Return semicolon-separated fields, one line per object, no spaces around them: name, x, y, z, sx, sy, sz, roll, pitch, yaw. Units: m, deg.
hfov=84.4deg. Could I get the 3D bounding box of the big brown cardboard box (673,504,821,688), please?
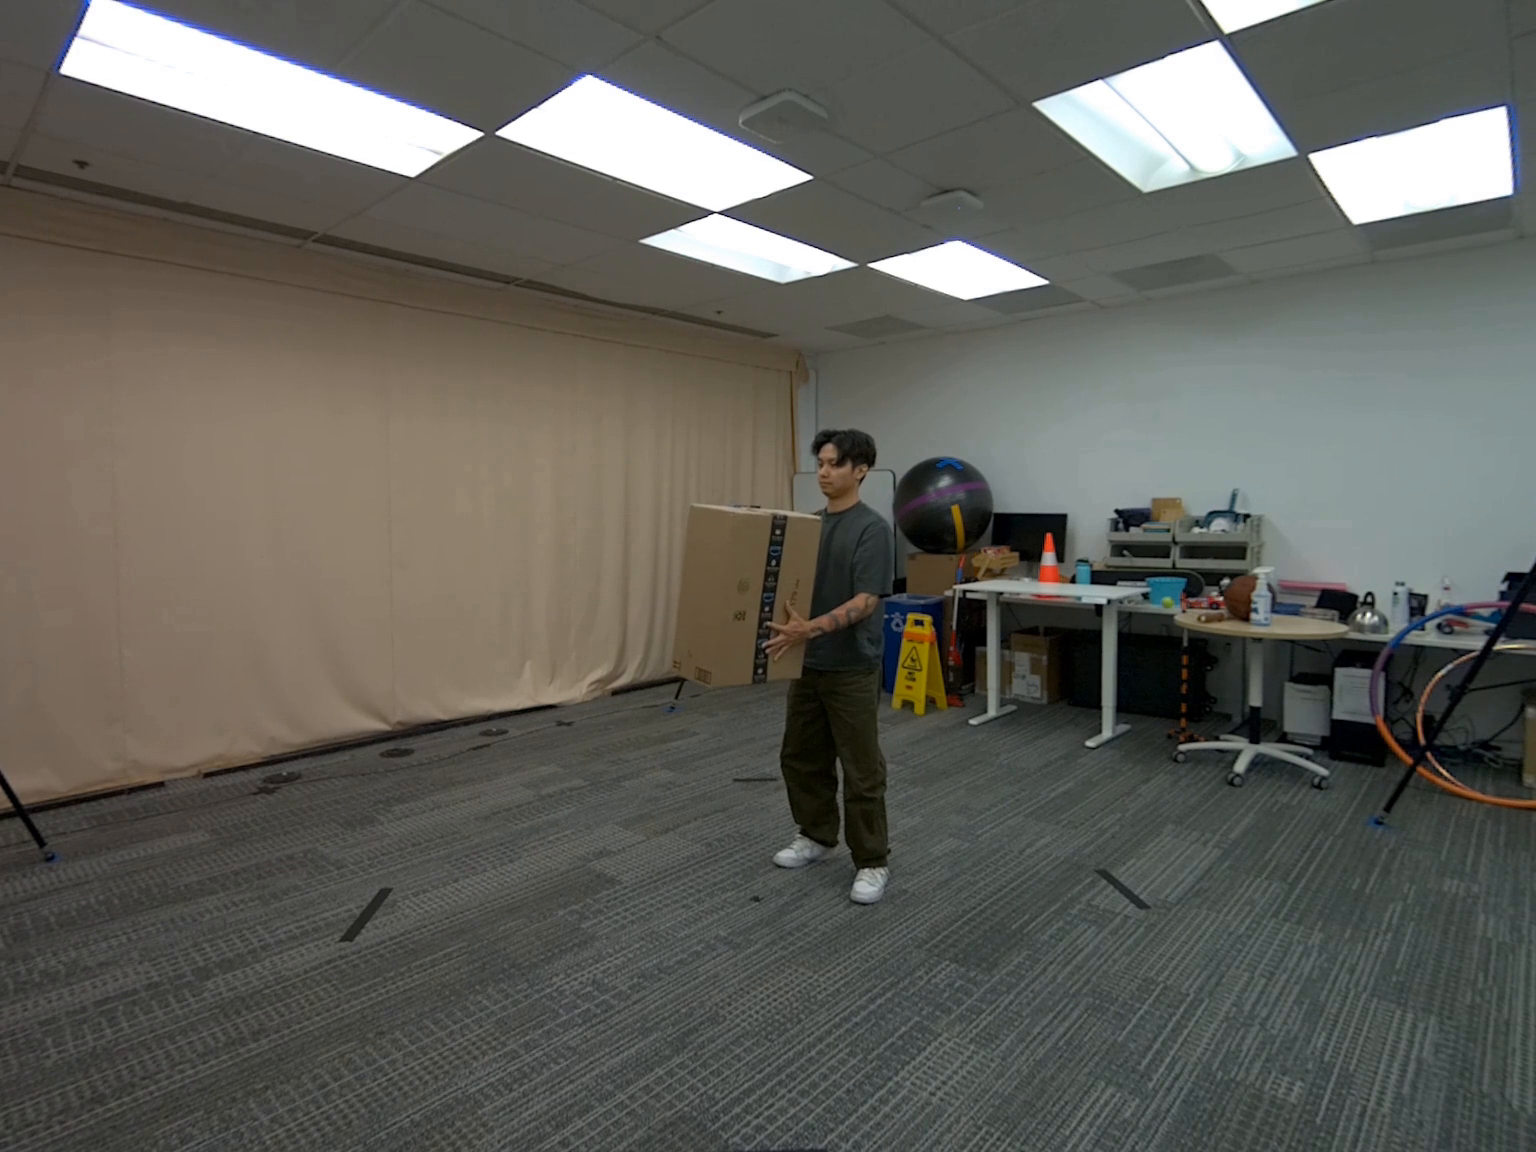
big brown cardboard box;-0.067;0.054;2.840;0.404;0.587;0.241;2;7;-43
